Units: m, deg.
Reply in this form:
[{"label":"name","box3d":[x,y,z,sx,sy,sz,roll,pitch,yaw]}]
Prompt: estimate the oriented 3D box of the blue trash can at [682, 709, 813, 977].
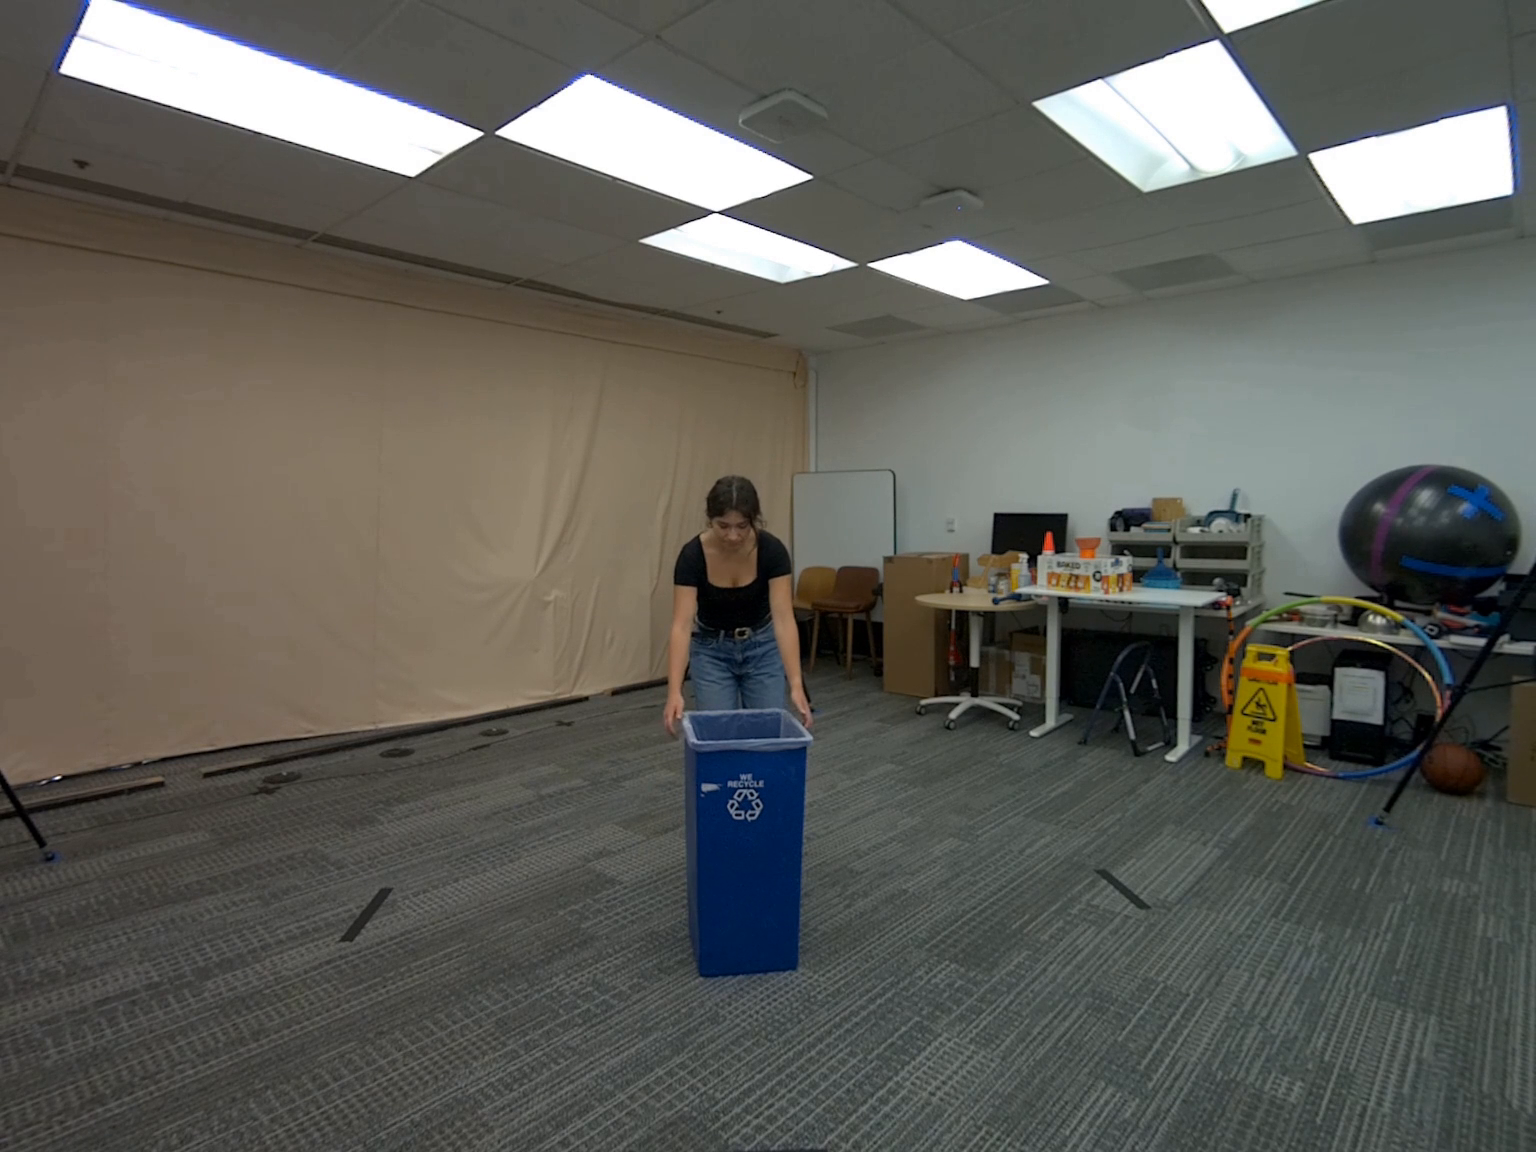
[{"label":"blue trash can","box3d":[-0.080,0.816,2.638,0.370,0.712,0.383,-1,4,-11]}]
